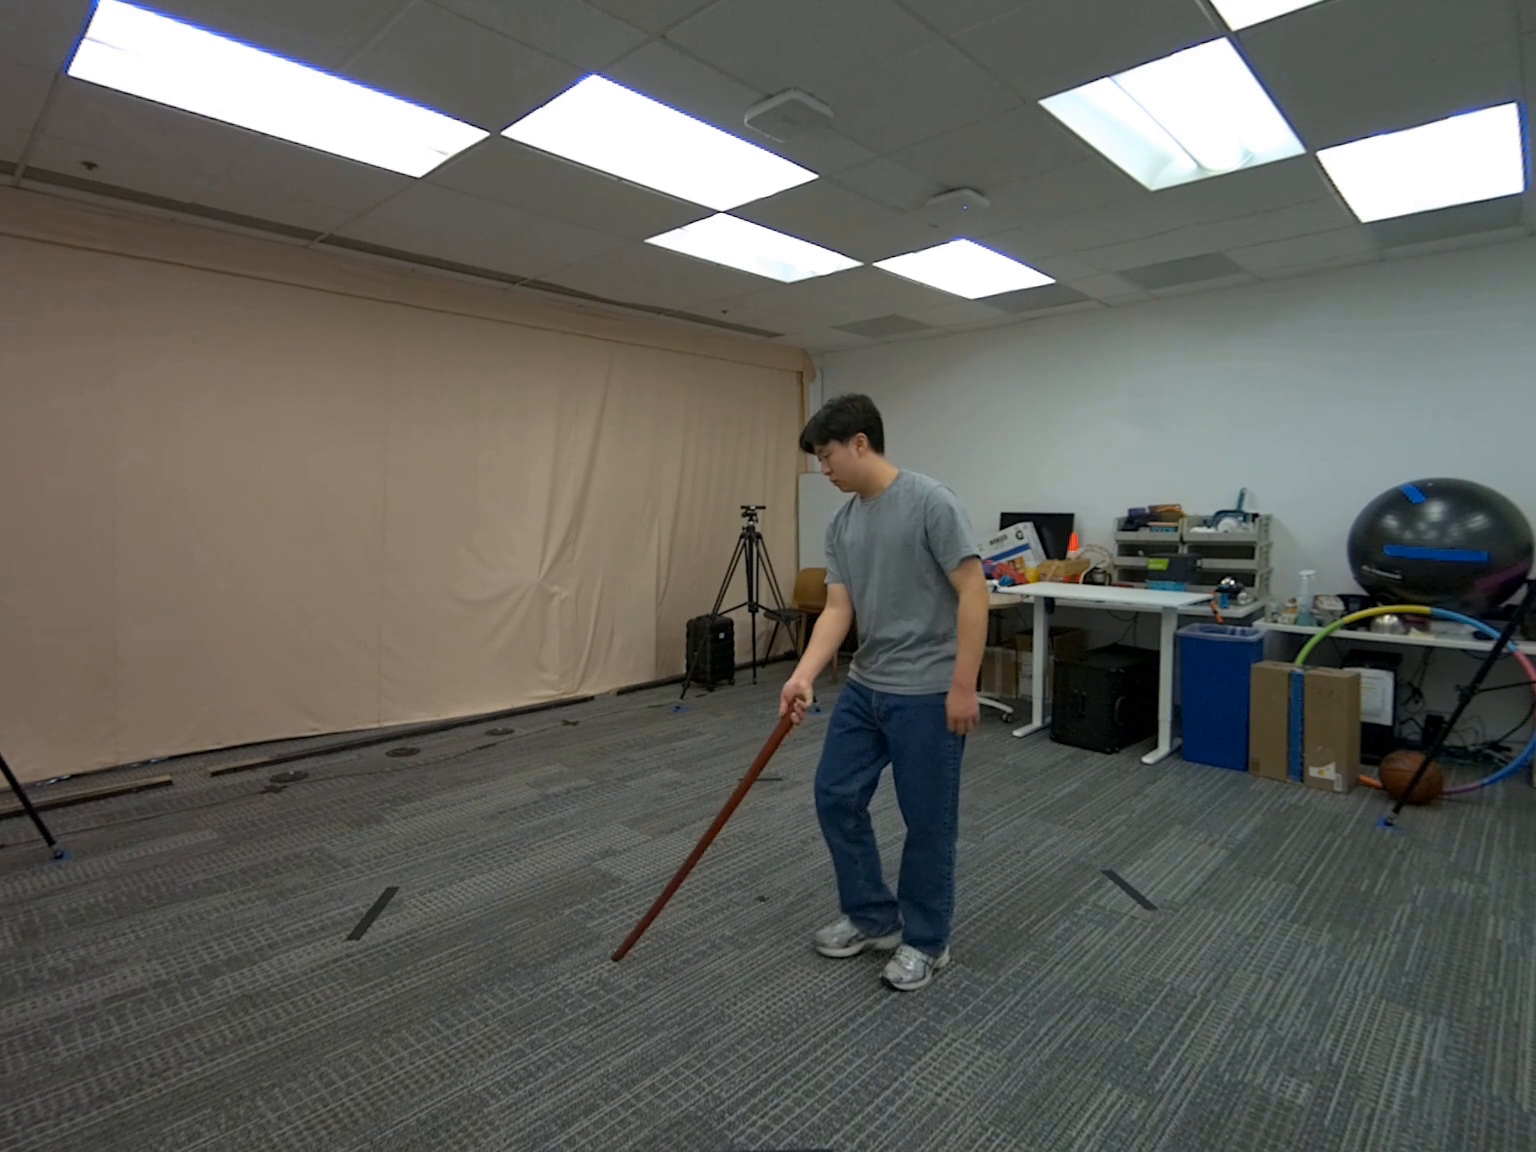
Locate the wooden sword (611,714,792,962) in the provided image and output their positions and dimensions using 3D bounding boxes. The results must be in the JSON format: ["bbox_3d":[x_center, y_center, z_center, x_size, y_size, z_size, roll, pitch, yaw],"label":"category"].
[{"bbox_3d":[-0.186,0.781,2.487,0.051,1.025,0.024,34,9,-2],"label":"wooden sword"}]
